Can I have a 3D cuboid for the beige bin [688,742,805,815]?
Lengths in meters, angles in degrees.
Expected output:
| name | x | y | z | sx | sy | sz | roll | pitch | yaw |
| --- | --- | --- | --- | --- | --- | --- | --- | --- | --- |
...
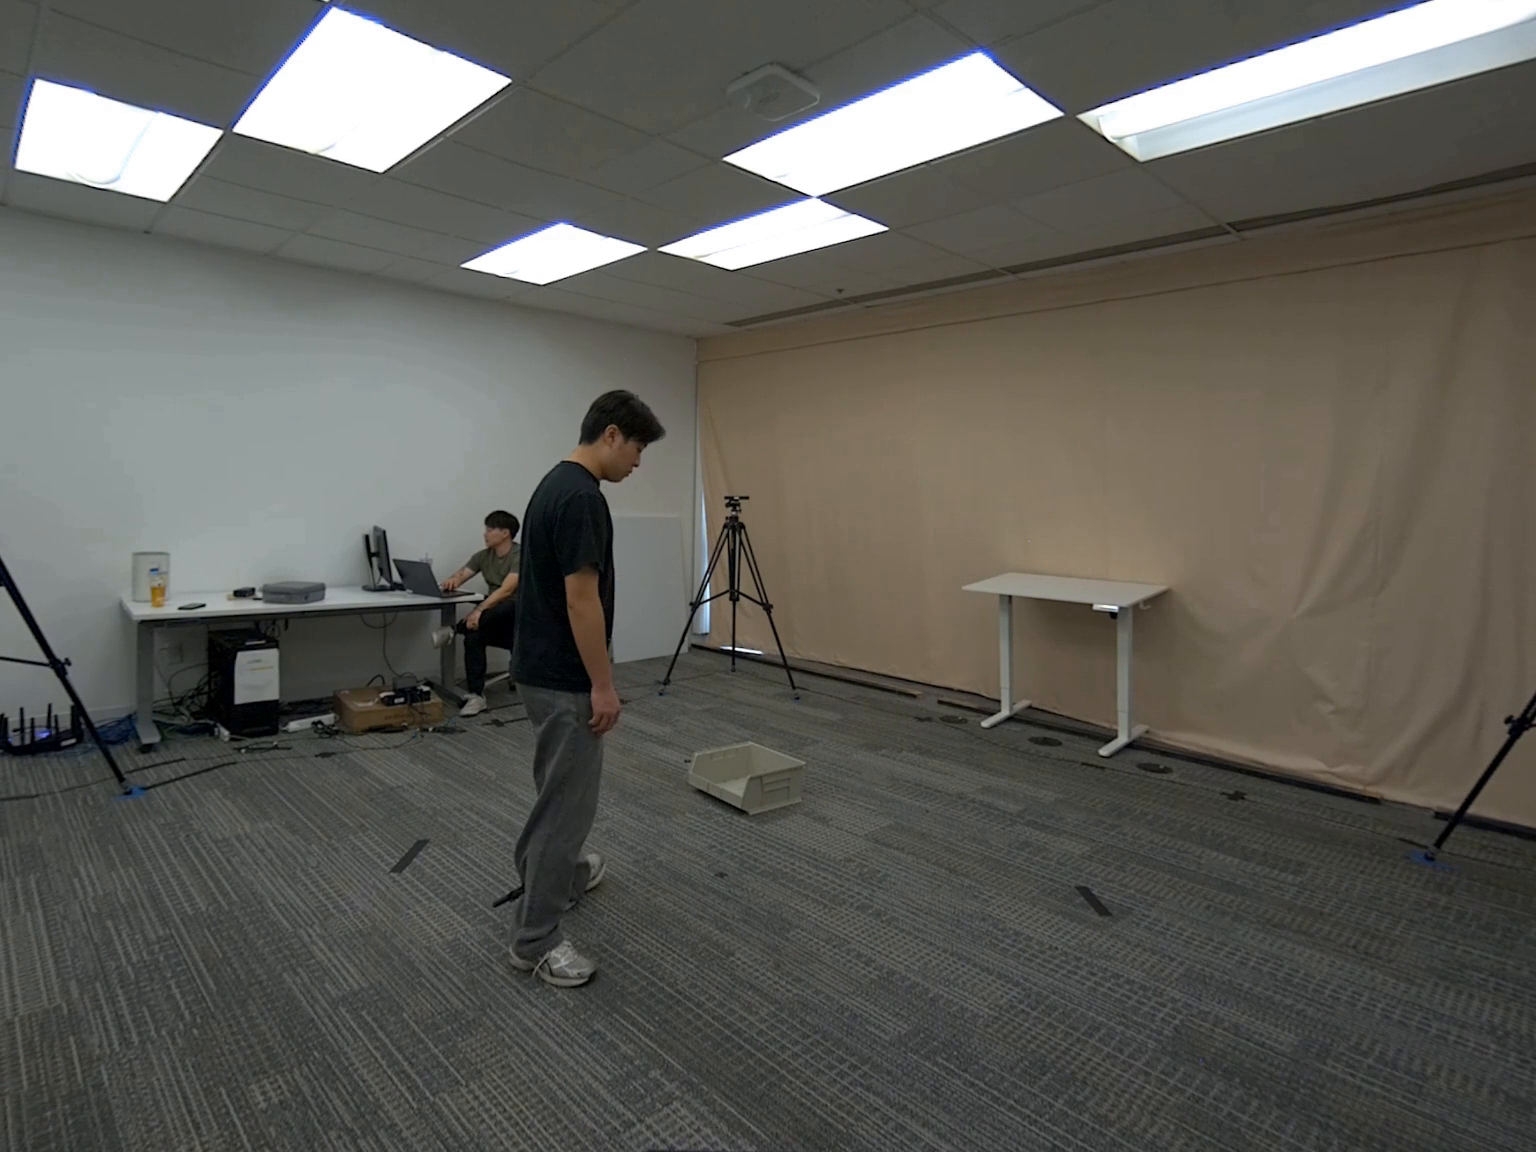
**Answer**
| name | x | y | z | sx | sy | sz | roll | pitch | yaw |
| --- | --- | --- | --- | --- | --- | --- | --- | --- | --- |
| beige bin | -0.111 | 0.942 | 3.946 | 0.369 | 0.188 | 0.433 | -1 | 4 | -39 |
